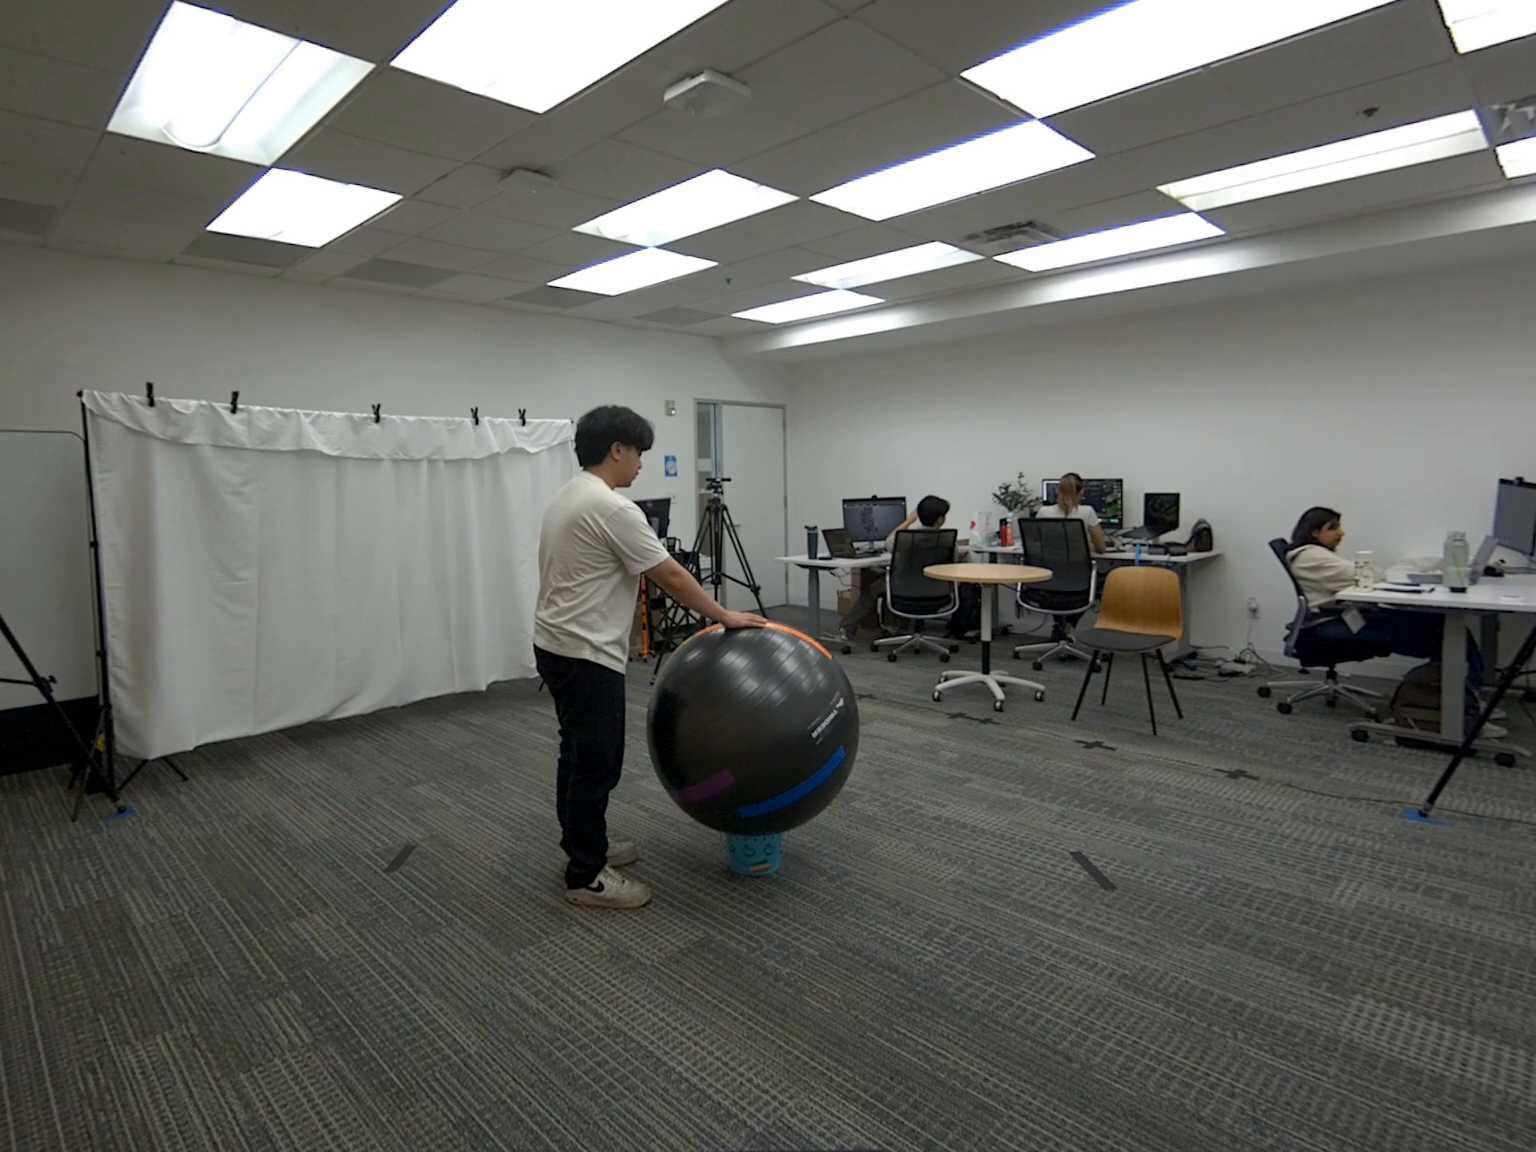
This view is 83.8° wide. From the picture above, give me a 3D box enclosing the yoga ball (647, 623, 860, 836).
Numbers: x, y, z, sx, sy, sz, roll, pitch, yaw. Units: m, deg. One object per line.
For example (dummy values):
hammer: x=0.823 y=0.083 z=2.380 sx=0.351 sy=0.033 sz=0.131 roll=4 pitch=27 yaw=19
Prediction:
yoga ball: x=-0.051 y=0.539 z=3.057 sx=0.757 sy=0.755 sz=0.762 roll=-1 pitch=5 yaw=-2
